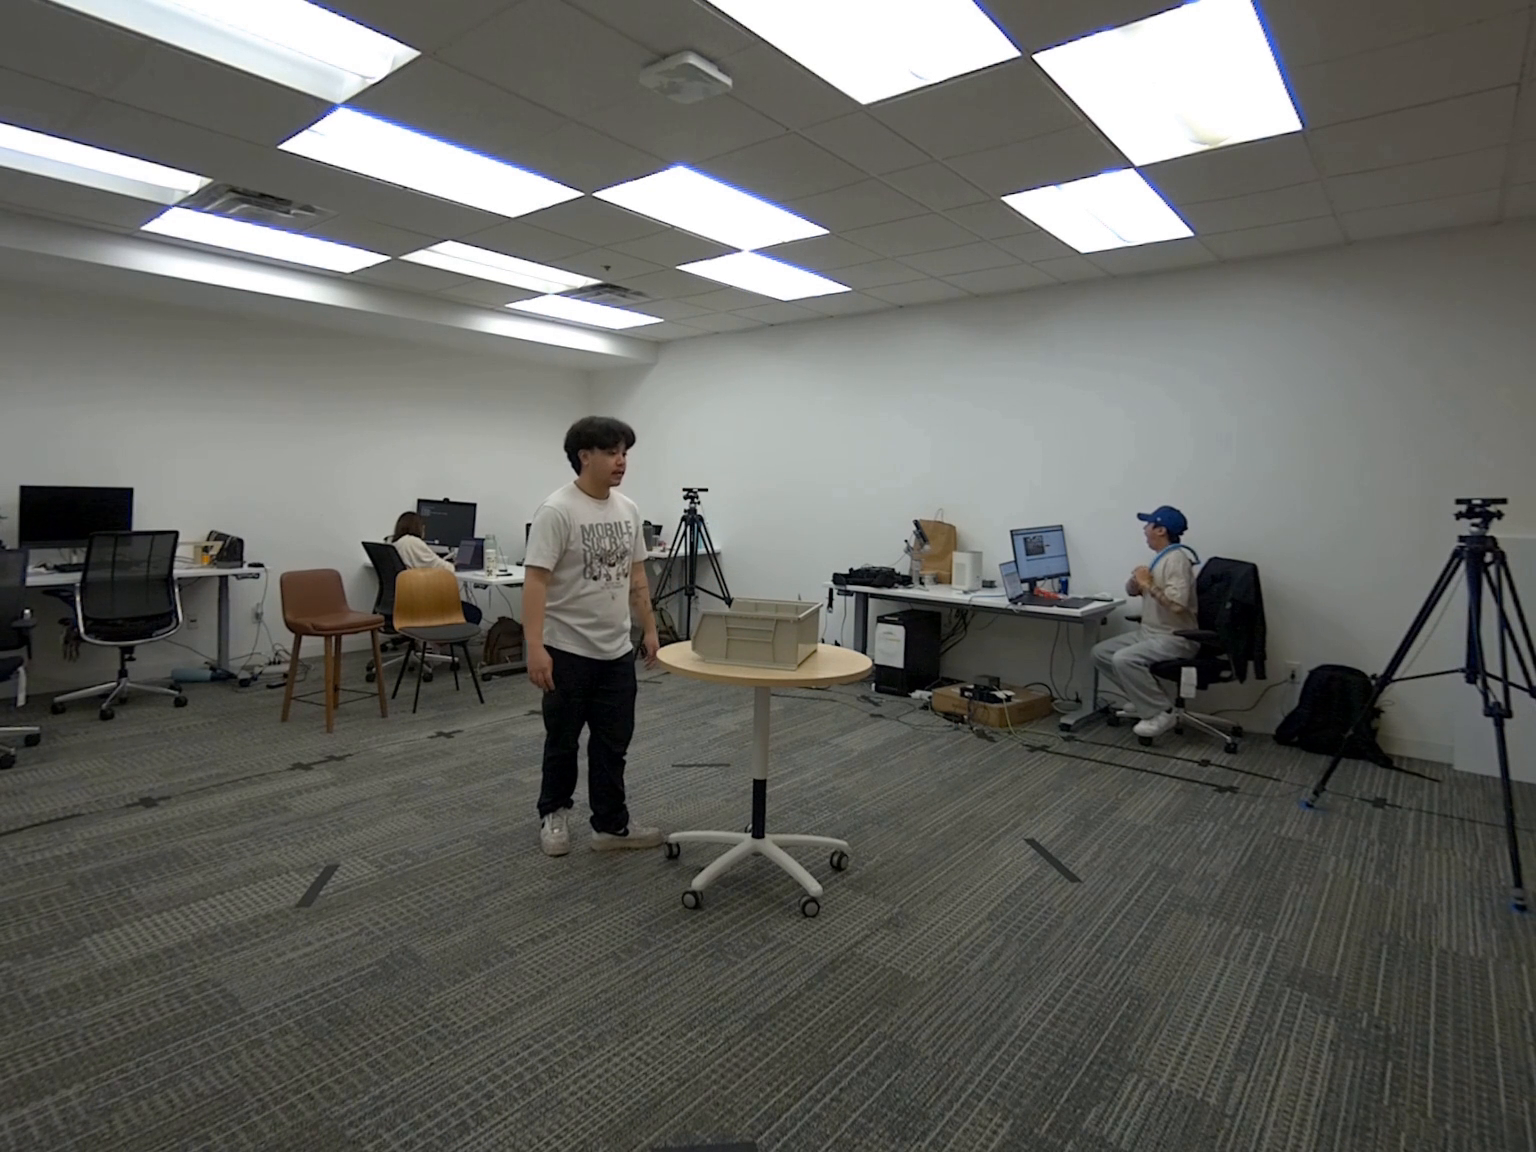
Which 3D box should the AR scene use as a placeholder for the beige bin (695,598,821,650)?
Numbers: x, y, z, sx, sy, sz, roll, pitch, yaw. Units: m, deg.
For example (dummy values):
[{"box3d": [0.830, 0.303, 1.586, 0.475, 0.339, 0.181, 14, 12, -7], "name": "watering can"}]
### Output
[{"box3d": [-0.033, 0.196, 3.029, 0.384, 0.188, 0.416, 4, 5, 15], "name": "beige bin"}]
